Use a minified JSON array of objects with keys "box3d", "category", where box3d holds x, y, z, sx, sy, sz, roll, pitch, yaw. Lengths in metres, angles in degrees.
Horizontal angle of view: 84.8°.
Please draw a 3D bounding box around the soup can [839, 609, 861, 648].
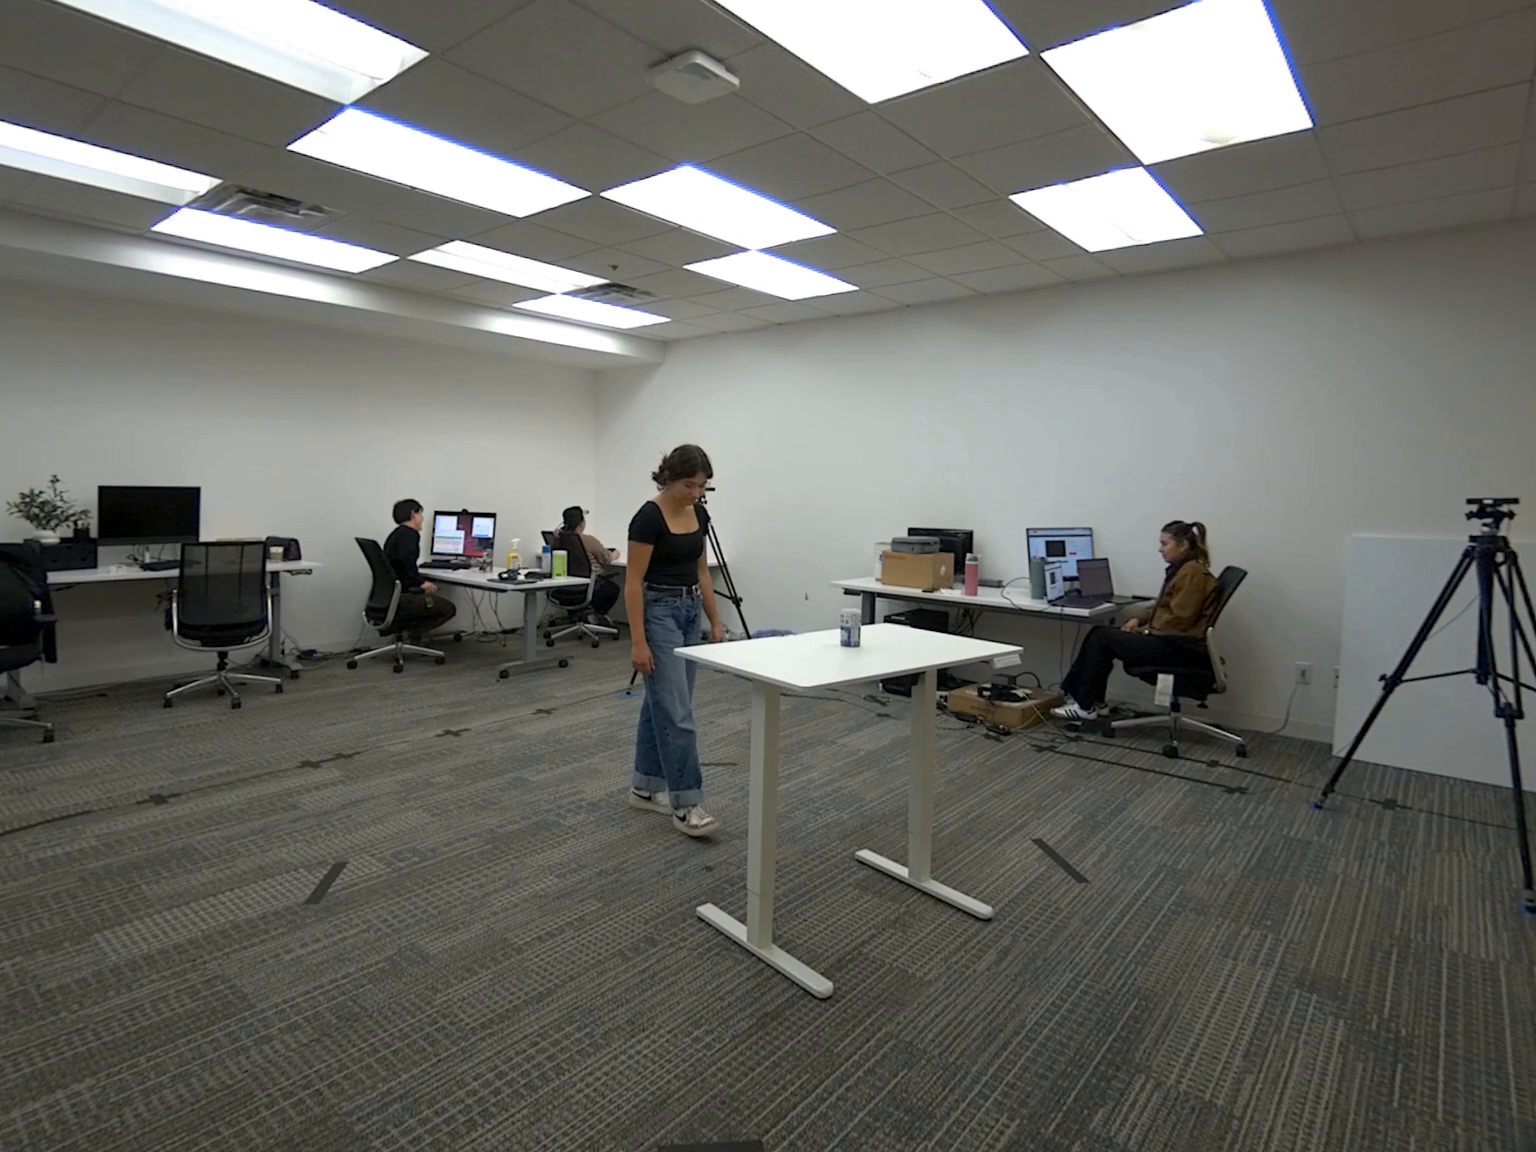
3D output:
[{"box3d":[0.264,0.170,2.783,0.067,0.121,0.067,0,3,-2],"category":"soup can"}]
